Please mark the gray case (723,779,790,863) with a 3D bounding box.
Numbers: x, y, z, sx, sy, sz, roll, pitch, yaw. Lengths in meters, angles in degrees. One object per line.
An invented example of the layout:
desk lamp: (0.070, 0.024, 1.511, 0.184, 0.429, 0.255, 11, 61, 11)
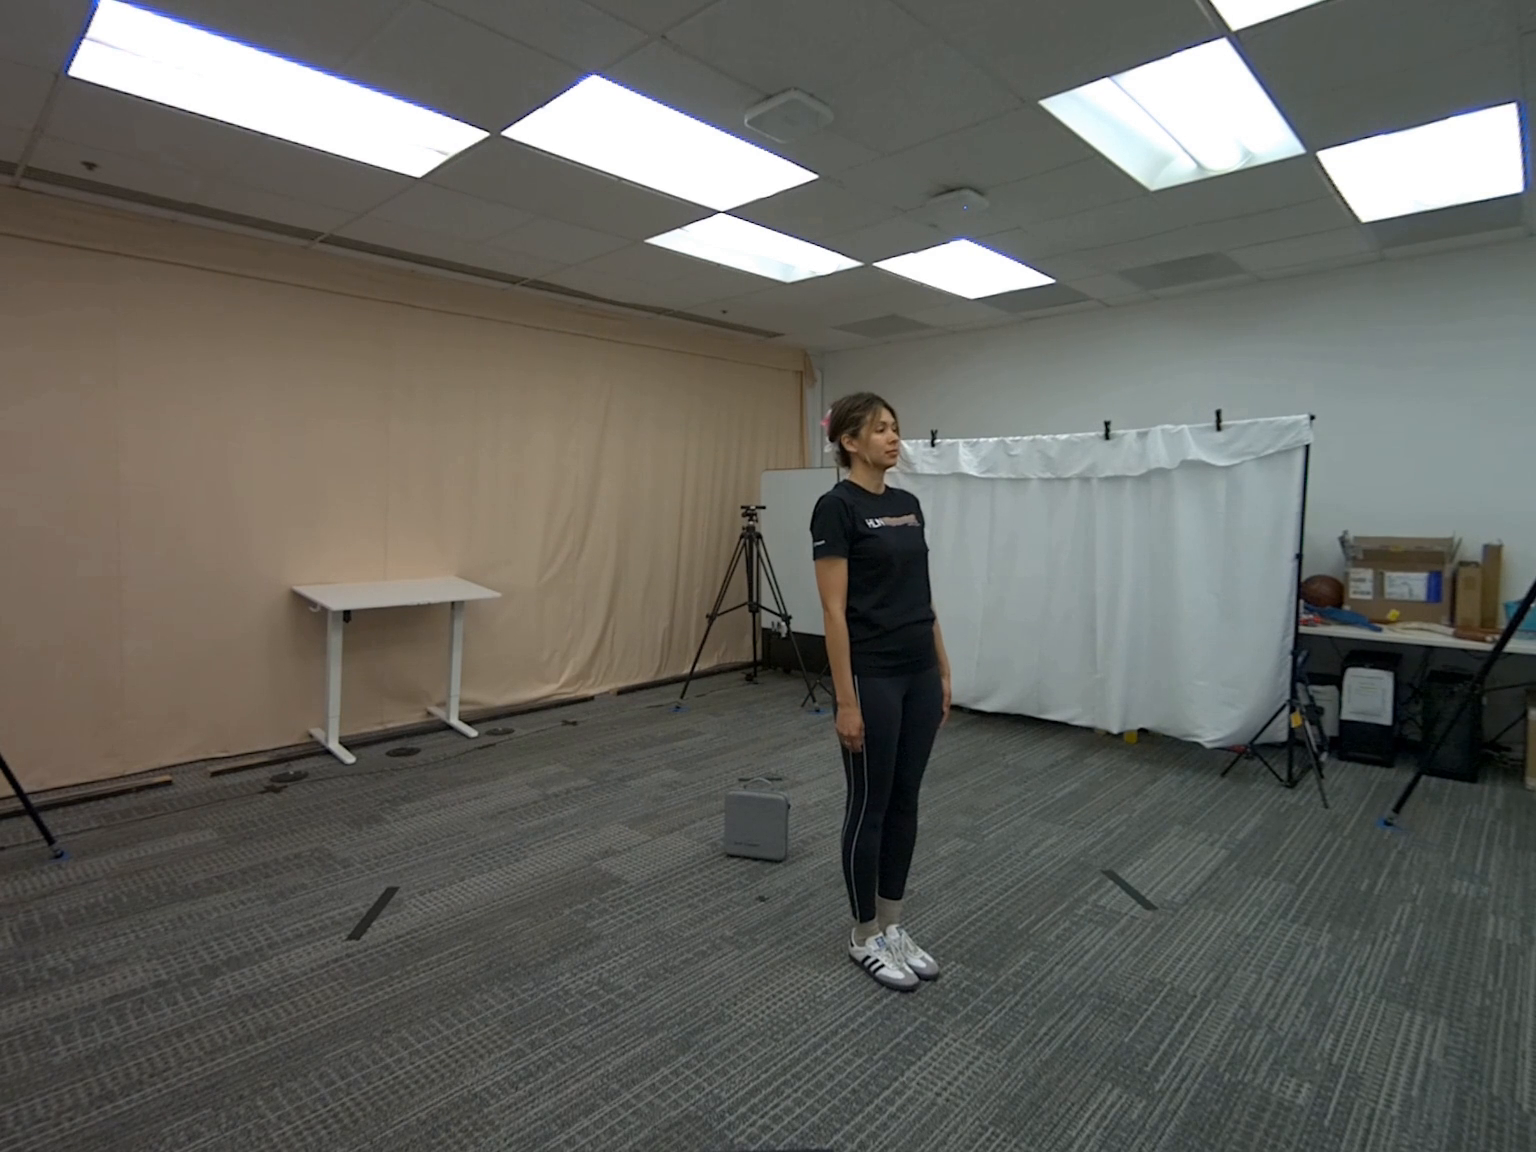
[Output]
gray case: (-0.045, 0.979, 3.351, 0.262, 0.261, 0.102, 2, -3, 17)
